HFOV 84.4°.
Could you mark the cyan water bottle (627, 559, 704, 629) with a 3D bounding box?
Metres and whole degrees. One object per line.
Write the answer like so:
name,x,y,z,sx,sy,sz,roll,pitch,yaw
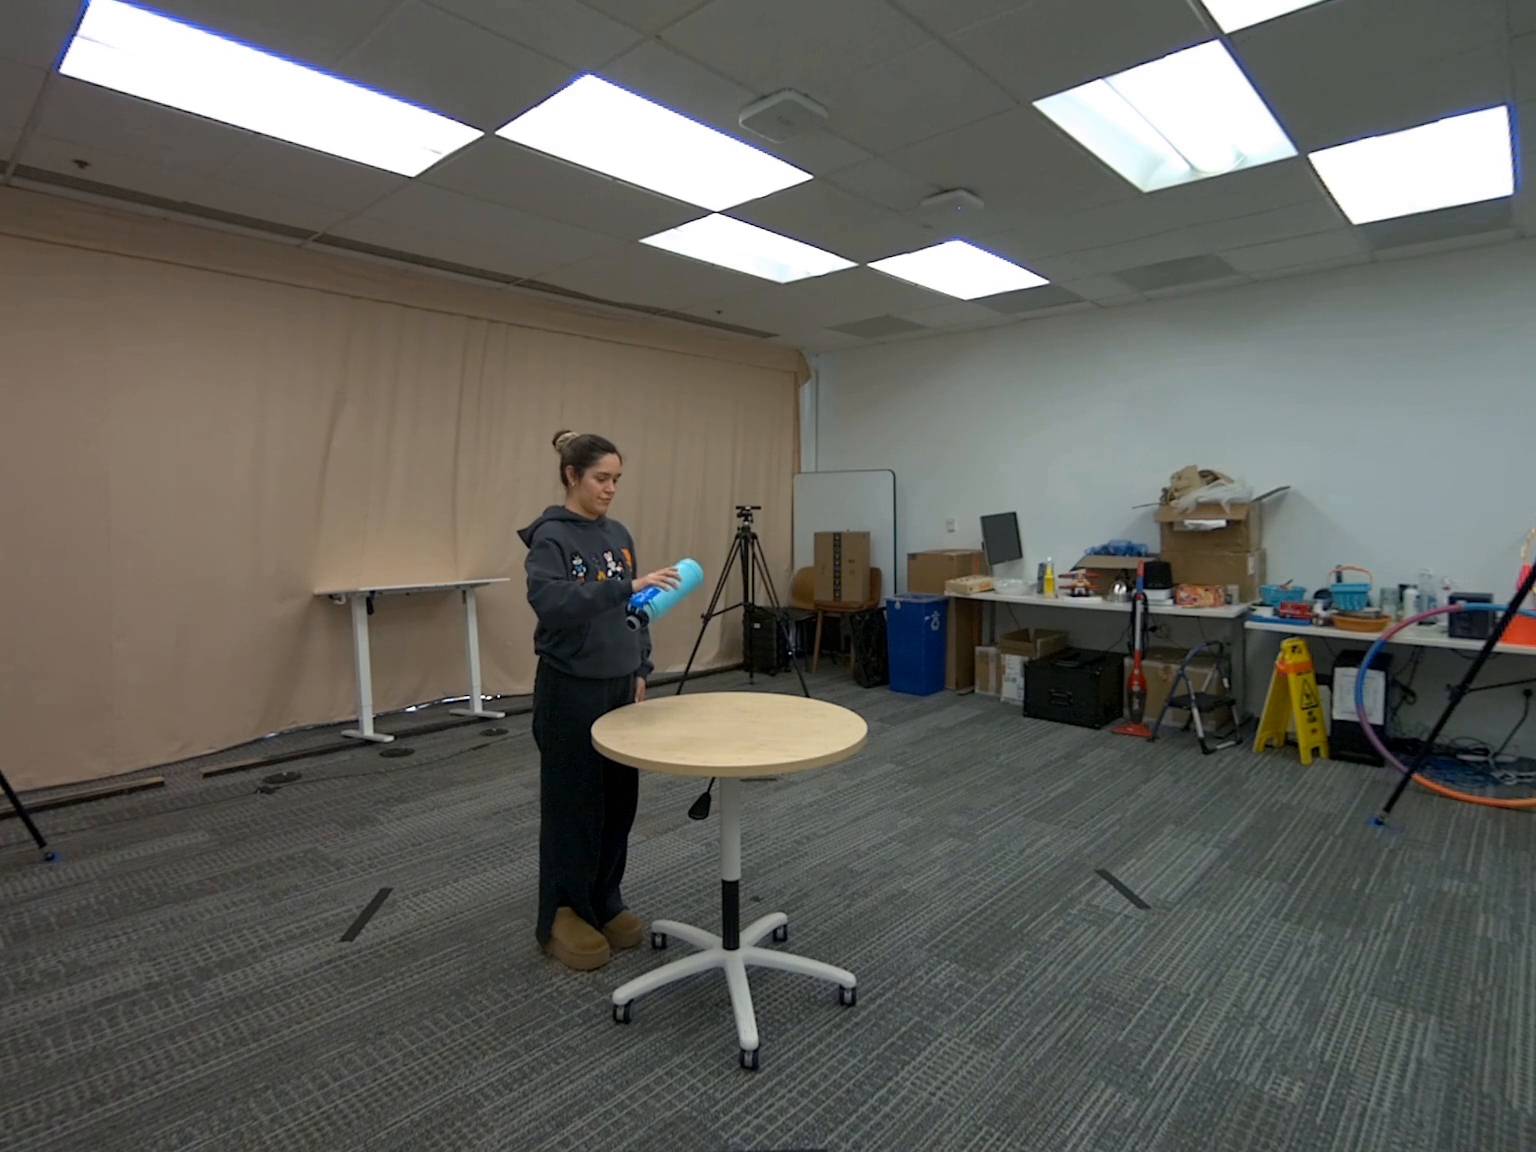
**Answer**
cyan water bottle,-0.280,0.062,2.310,0.095,0.090,0.280,2,29,34
